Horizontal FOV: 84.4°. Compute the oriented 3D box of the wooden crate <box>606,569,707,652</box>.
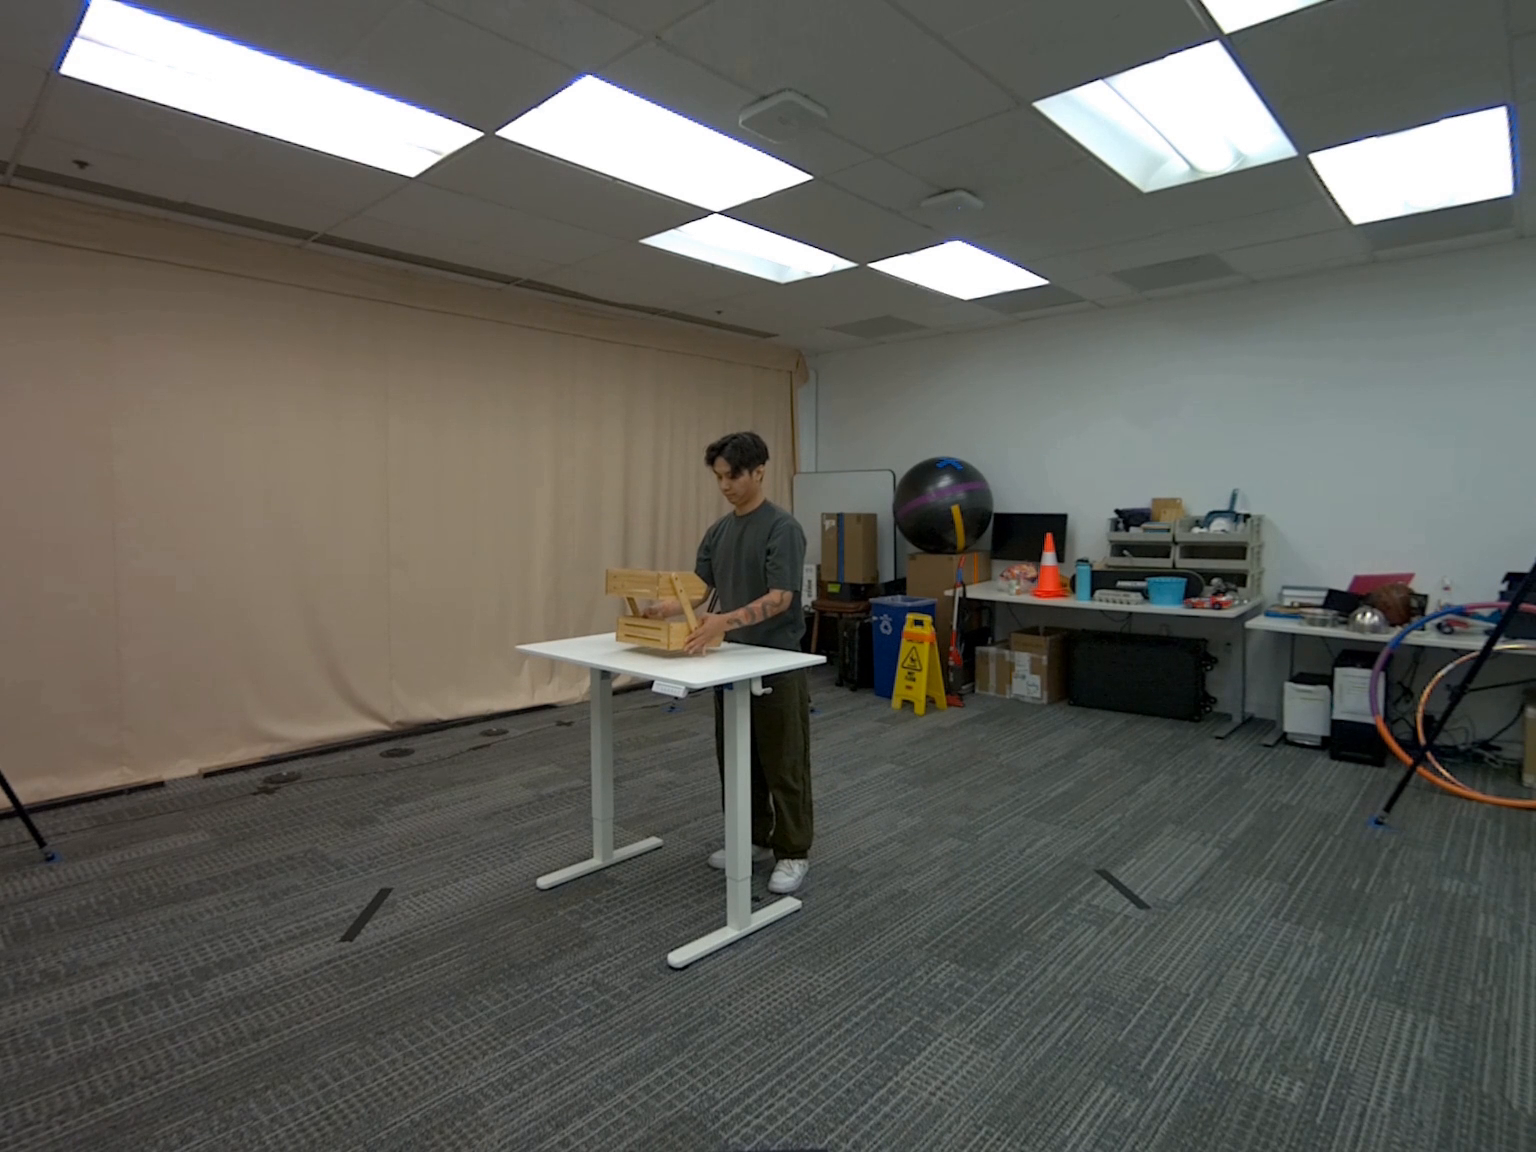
[{"bbox_3d":[-0.358,0.110,2.958,0.292,0.273,0.335,1,1,-44],"label":"wooden crate"}]
